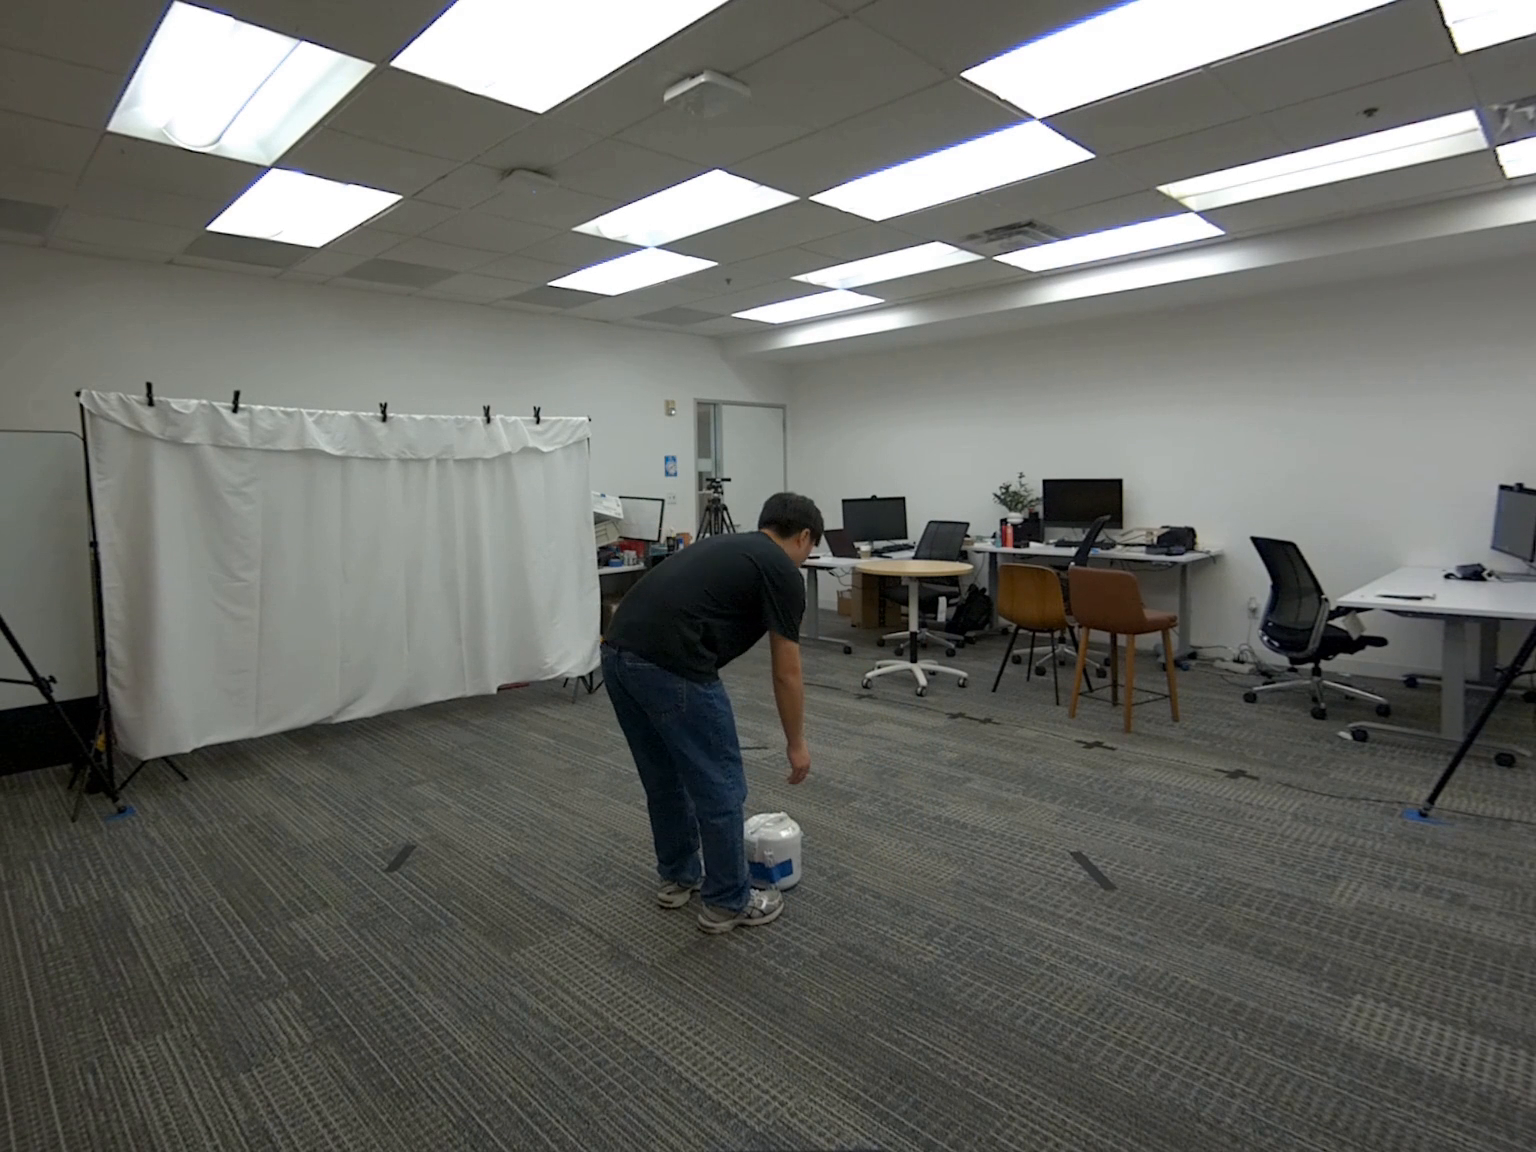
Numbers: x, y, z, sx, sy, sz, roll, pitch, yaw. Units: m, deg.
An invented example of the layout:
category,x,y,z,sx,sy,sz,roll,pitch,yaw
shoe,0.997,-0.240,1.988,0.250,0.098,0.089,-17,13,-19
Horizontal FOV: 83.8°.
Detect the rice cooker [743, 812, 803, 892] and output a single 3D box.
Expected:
category,x,y,z,sx,sy,sz,roll,pitch,yaw
rice cooker,0.013,0.942,2.959,0.215,0.232,0.224,-5,7,-43
